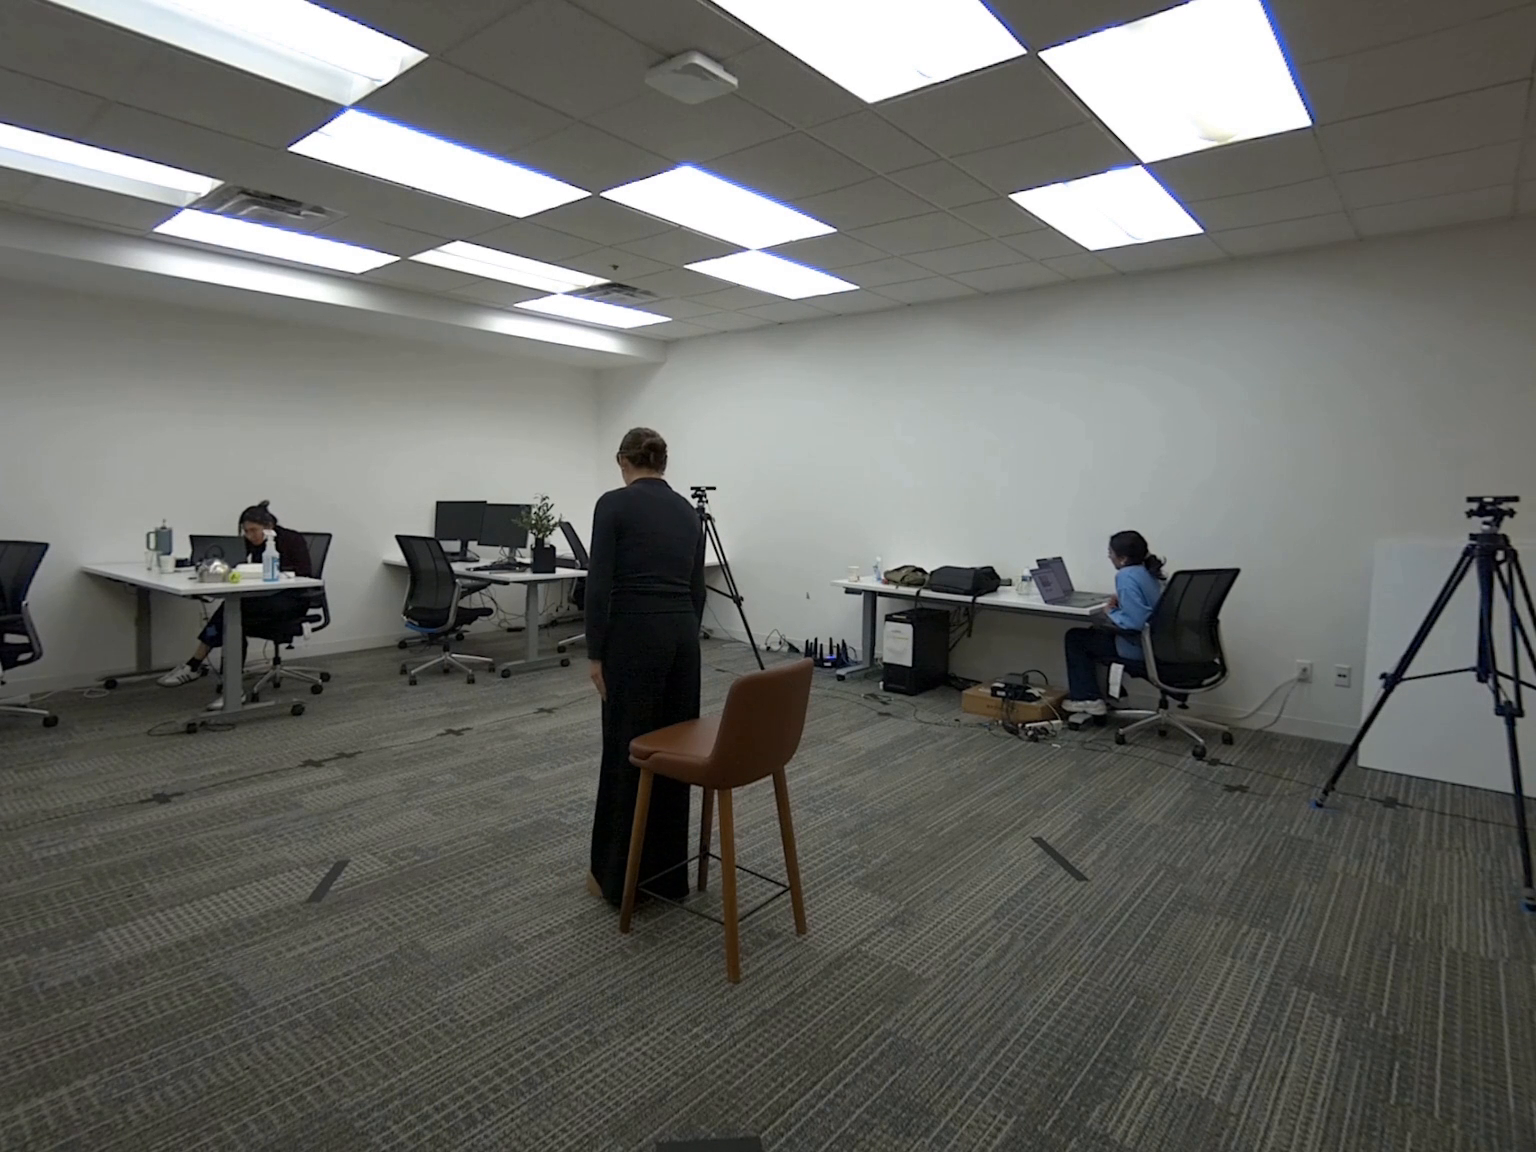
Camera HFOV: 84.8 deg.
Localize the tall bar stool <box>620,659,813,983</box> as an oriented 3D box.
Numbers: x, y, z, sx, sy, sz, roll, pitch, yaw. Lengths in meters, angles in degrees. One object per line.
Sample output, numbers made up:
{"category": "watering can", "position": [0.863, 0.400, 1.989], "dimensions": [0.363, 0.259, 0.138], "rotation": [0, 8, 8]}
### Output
{"category": "tall bar stool", "position": [-0.158, 0.678, 2.634], "dimensions": [0.483, 0.886, 0.443], "rotation": [6, 5, 37]}
